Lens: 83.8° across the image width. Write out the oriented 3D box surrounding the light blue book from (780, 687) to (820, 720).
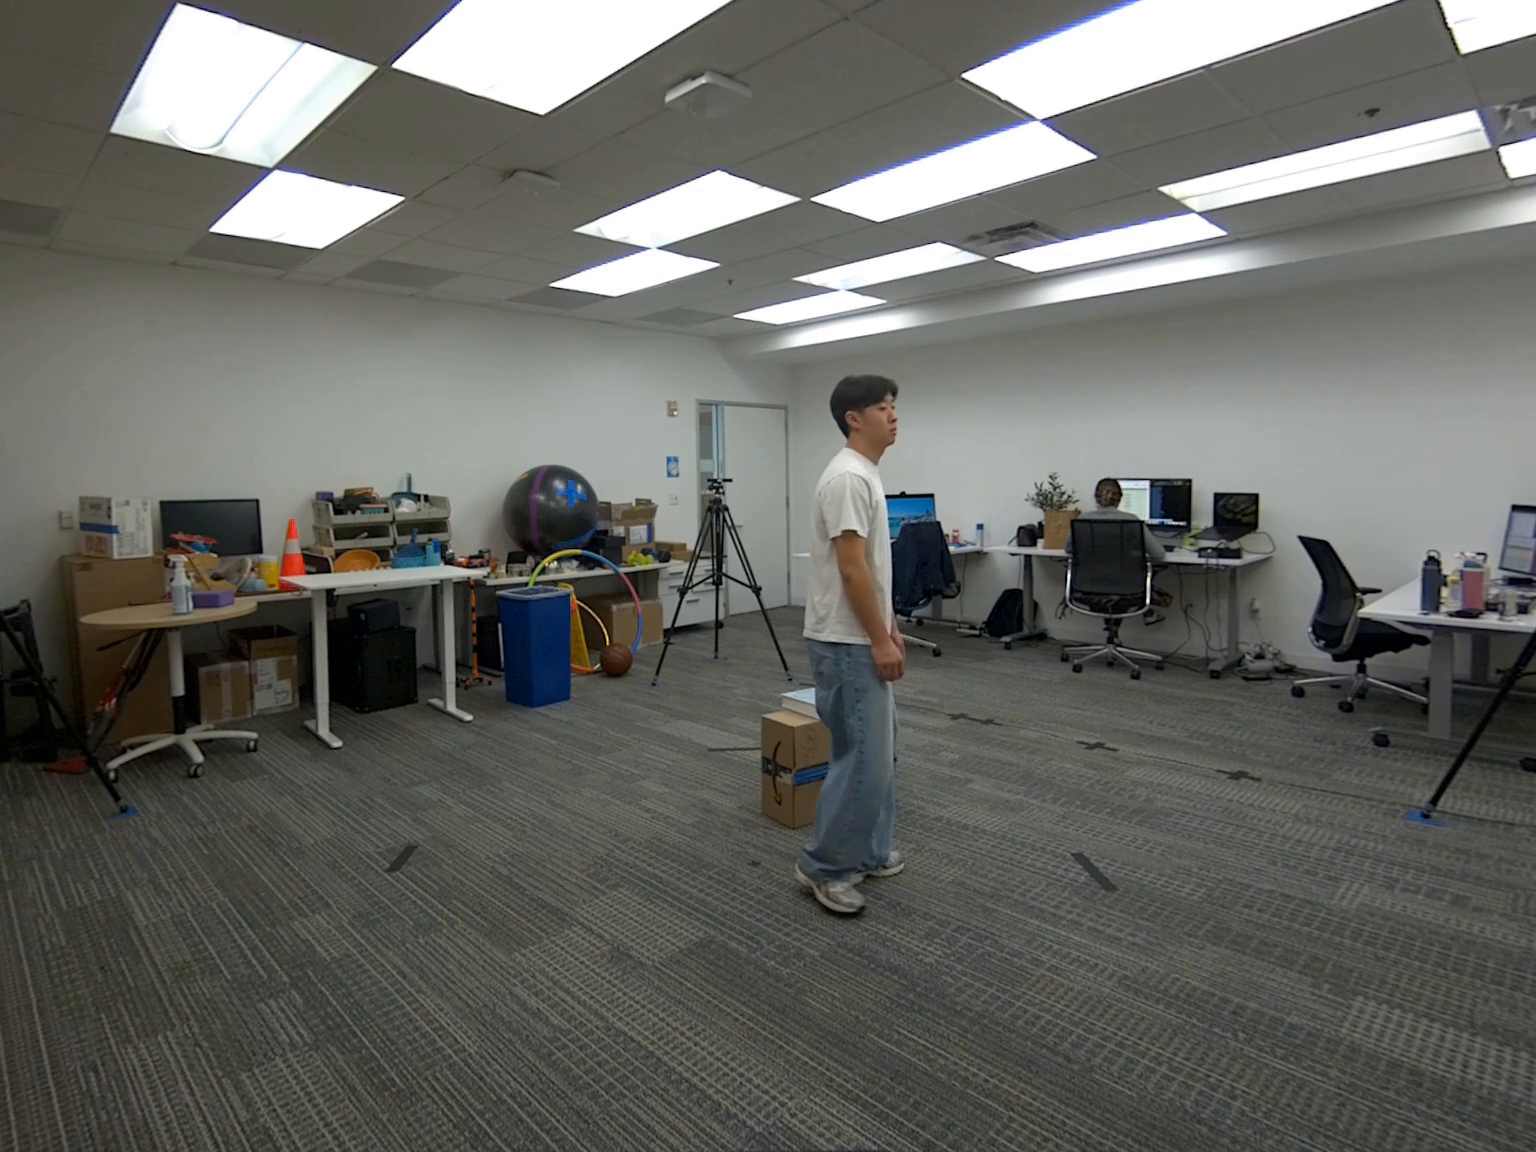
[{"bbox_3d":[0.216,0.539,3.629,0.186,0.059,0.269,-6,7,-36],"label":"light blue book"}]
